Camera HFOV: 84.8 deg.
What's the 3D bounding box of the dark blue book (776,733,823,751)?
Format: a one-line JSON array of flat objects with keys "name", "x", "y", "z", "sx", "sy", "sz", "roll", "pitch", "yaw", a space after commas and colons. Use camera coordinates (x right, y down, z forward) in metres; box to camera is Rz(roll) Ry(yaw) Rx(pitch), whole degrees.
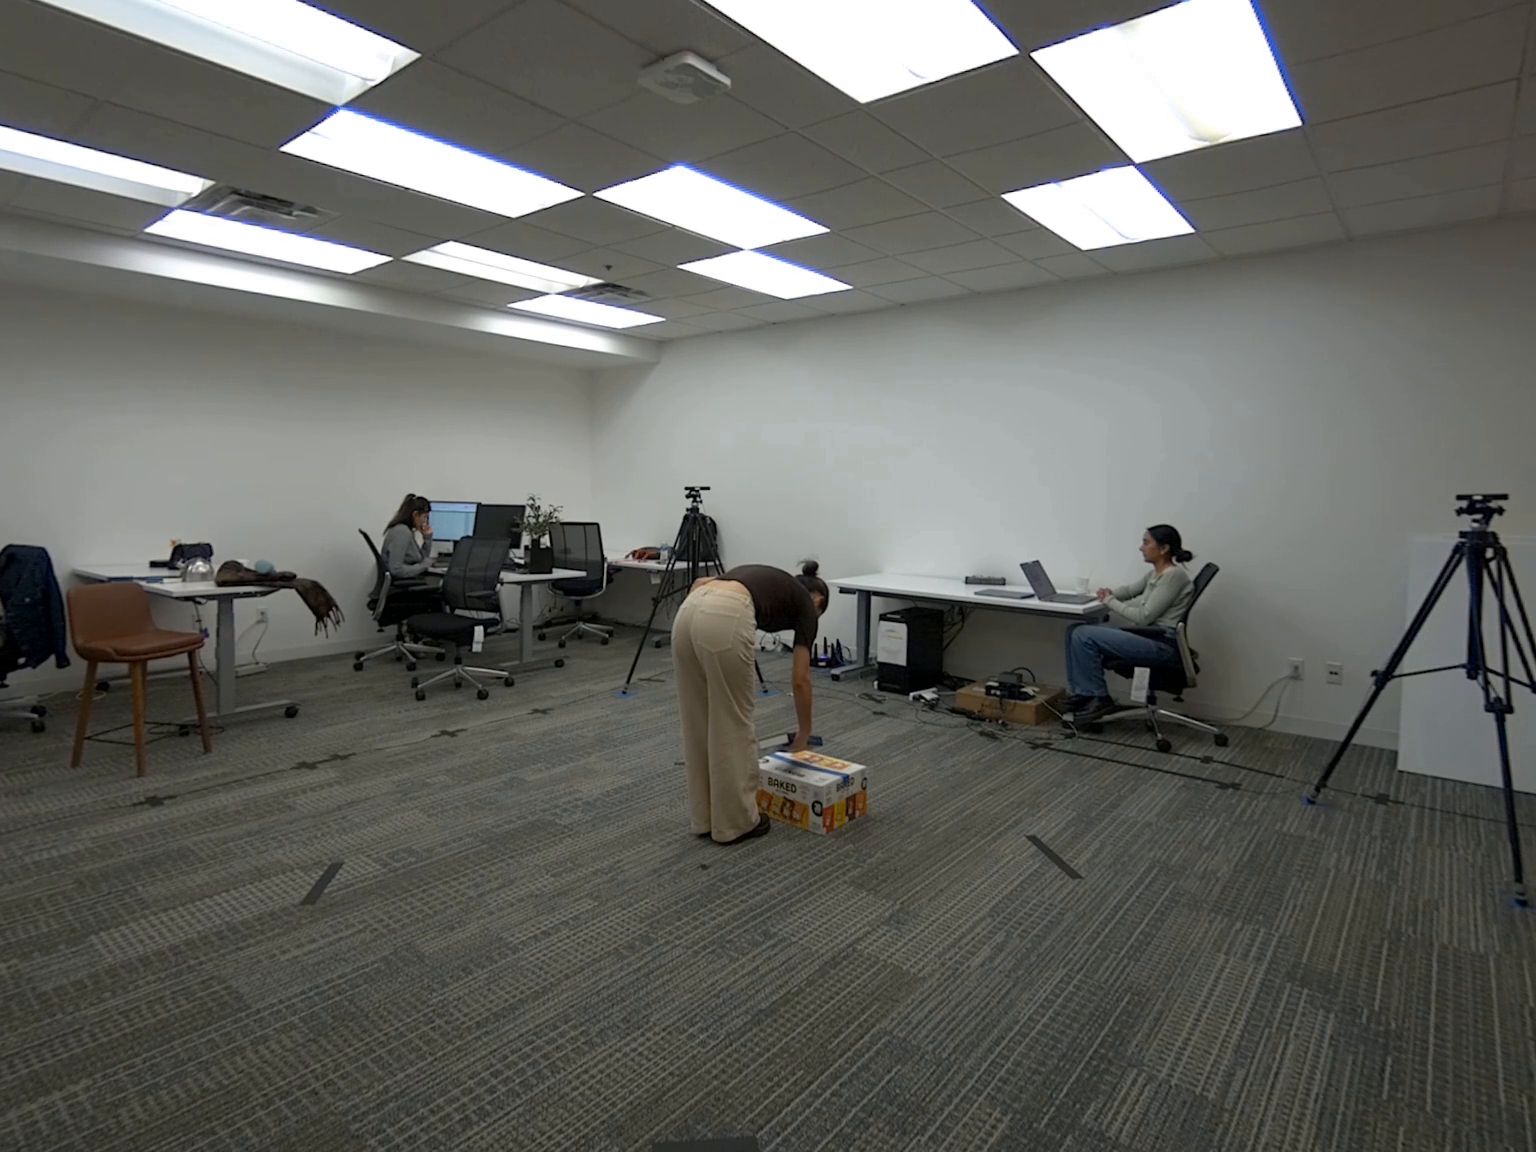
[{"name": "dark blue book", "x": 0.104, "y": 0.715, "z": 3.656, "sx": 0.166, "sy": 0.046, "sz": 0.236, "roll": -22, "pitch": -24, "yaw": 37}]
